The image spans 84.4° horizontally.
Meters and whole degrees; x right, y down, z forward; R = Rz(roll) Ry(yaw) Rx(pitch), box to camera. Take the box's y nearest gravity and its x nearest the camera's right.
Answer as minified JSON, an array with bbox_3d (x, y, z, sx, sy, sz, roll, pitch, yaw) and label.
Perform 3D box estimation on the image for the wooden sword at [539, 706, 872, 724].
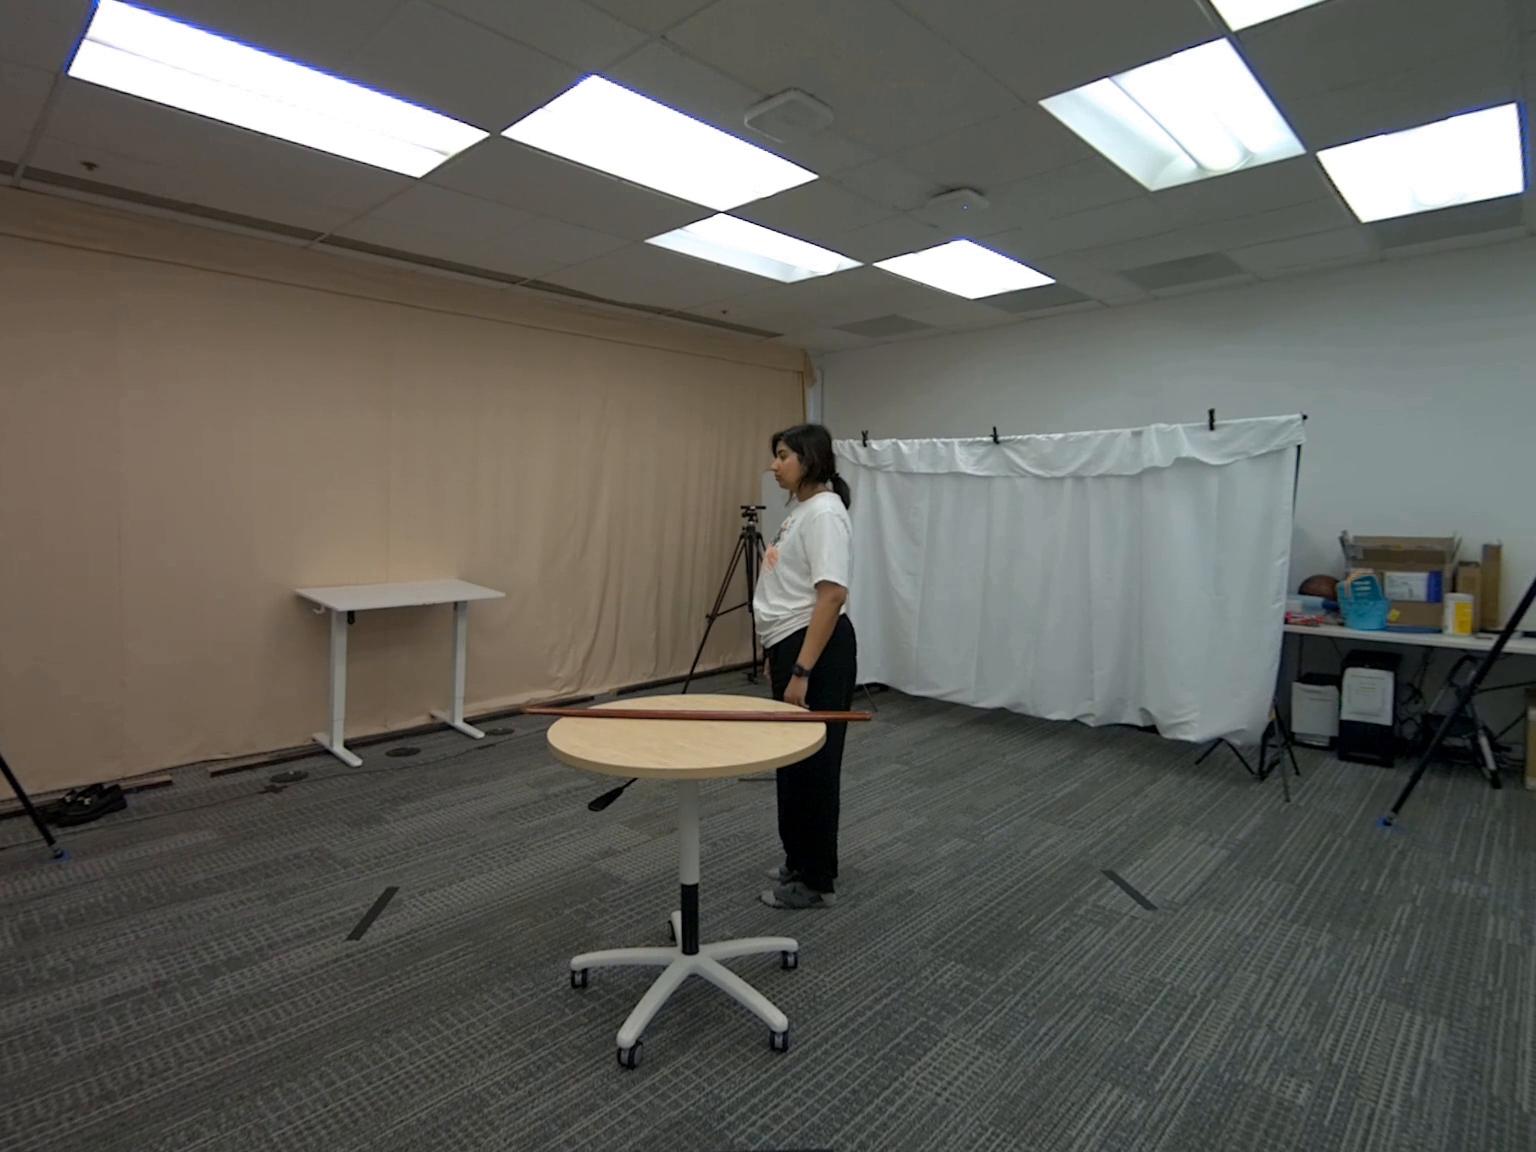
[{"bbox_3d":[-0.129,0.376,2.421,1.034,0.024,0.051,-1,20,8],"label":"wooden sword"}]
